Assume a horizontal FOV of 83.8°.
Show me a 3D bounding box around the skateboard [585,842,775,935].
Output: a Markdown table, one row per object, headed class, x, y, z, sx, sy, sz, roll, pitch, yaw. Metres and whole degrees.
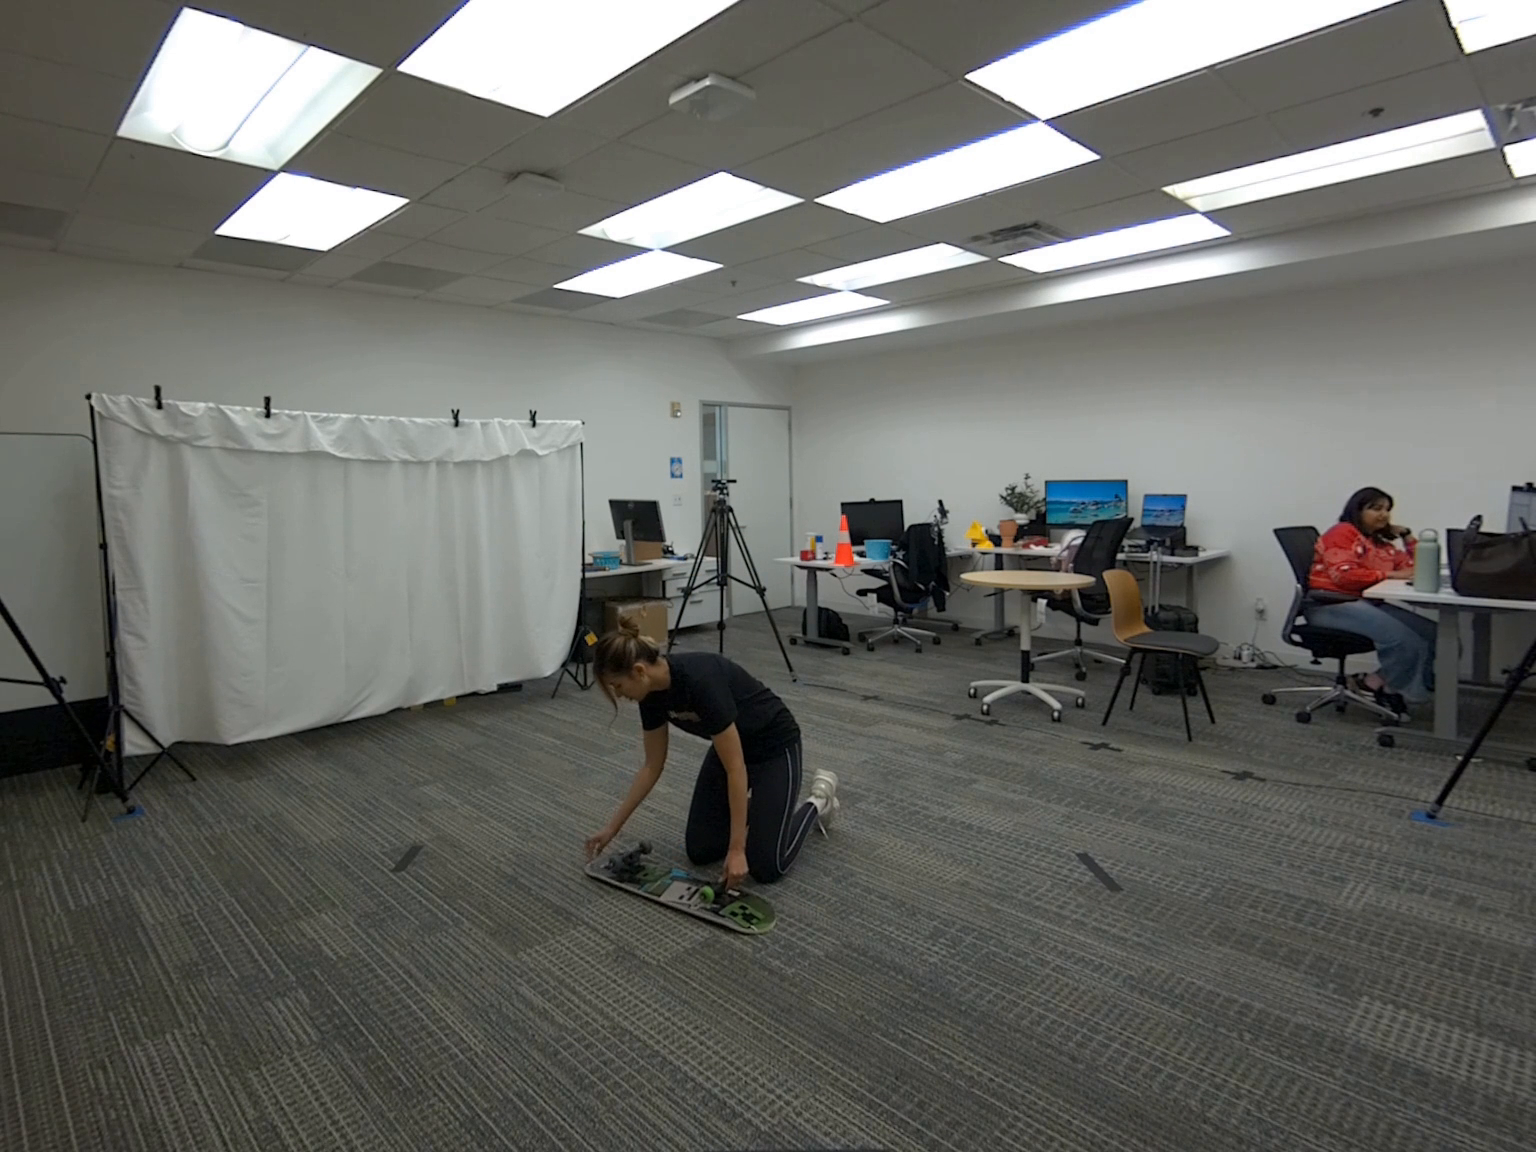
| class | x | y | z | sx | sy | sz | roll | pitch | yaw |
| --- | --- | --- | --- | --- | --- | --- | --- | --- | --- |
| skateboard | -0.318 | 1.027 | 2.888 | 0.808 | 0.110 | 0.189 | 4 | 8 | 35 |
